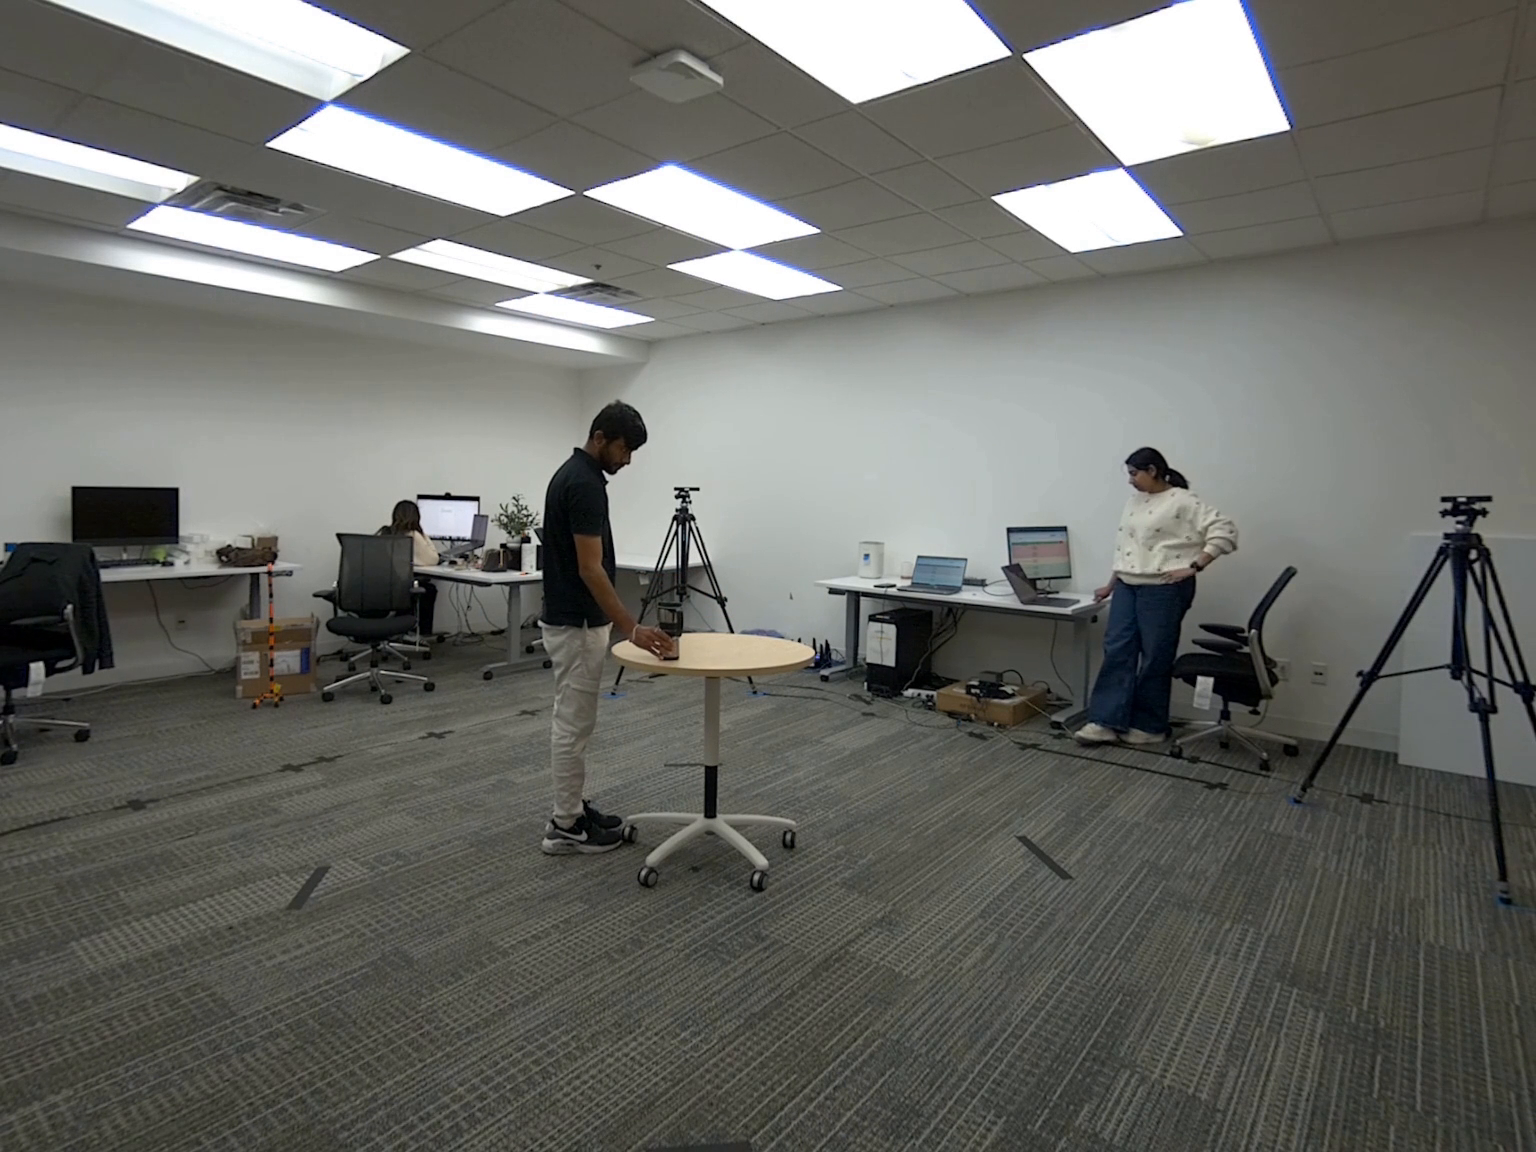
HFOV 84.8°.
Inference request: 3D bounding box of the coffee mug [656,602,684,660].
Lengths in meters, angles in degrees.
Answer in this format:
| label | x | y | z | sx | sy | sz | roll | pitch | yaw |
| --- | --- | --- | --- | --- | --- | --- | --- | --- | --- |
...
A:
| label | x | y | z | sx | sy | sz | roll | pitch | yaw |
| --- | --- | --- | --- | --- | --- | --- | --- | --- | --- |
| coffee mug | -0.362 | 0.191 | 2.976 | 0.087 | 0.203 | 0.124 | 2 | 1 | -13 |
